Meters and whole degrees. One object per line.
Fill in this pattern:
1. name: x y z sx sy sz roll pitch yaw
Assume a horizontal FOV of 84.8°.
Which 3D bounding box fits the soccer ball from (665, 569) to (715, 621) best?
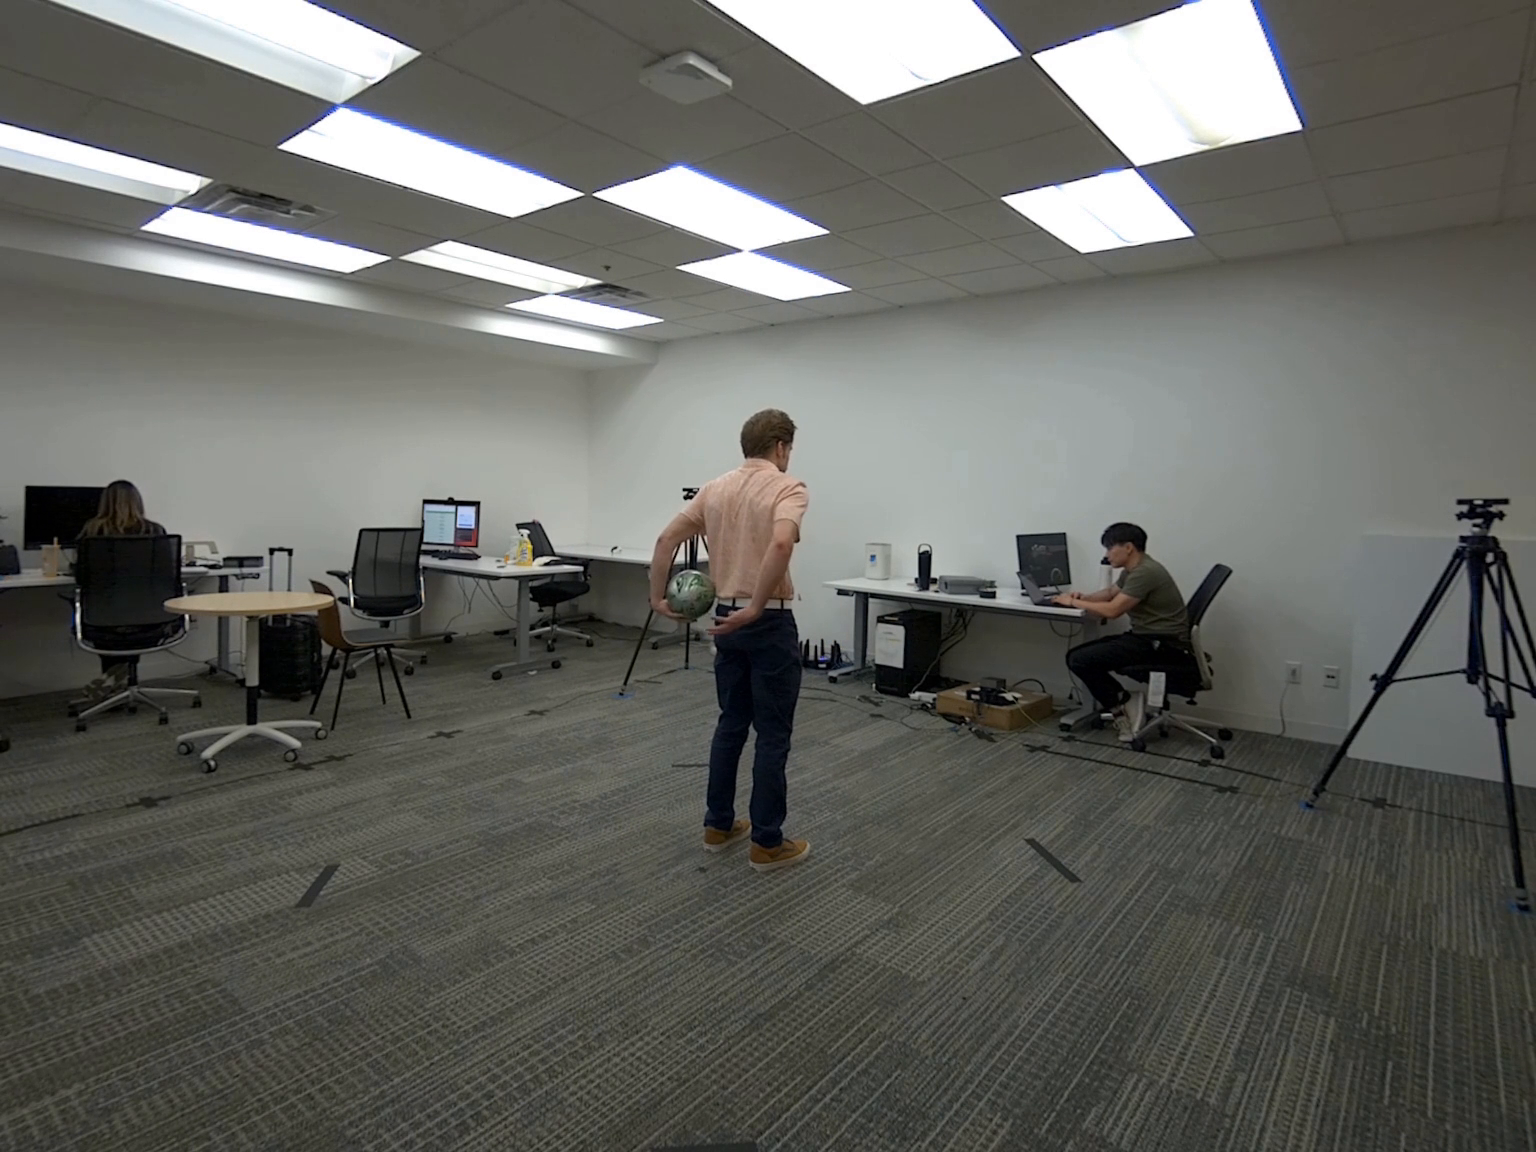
1. soccer ball: -0.309 0.068 3.267 0.187 0.187 0.188 1 4 -2
